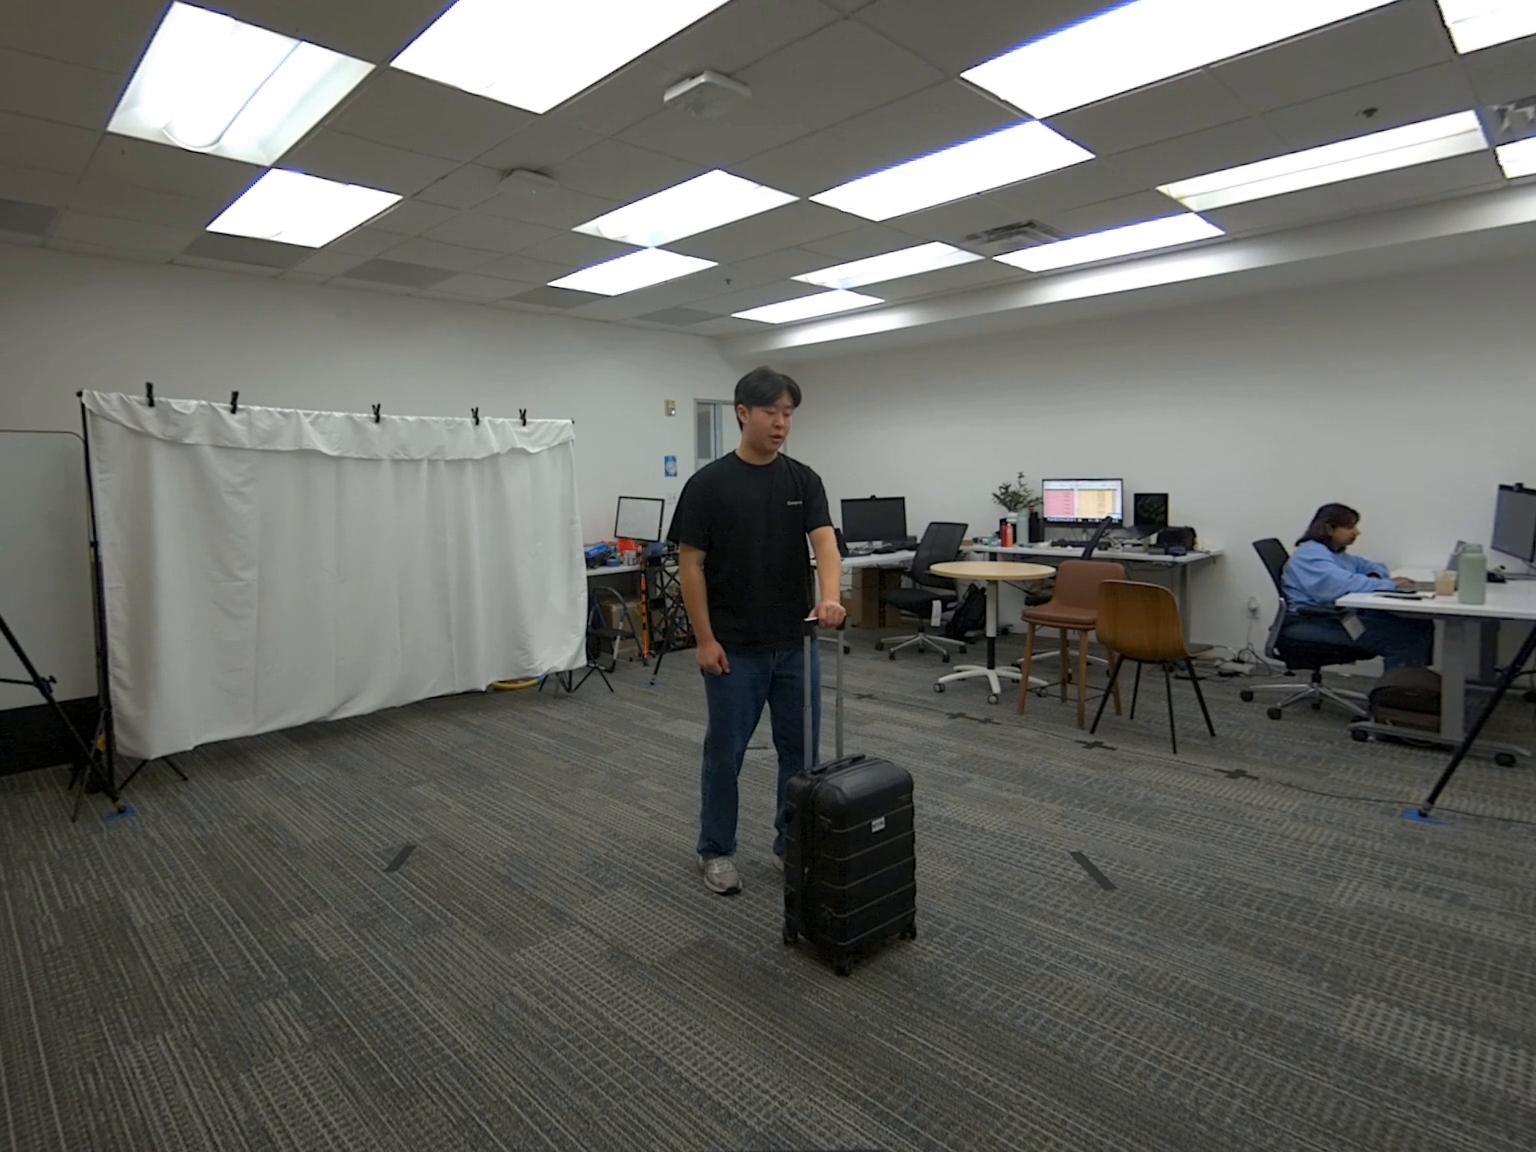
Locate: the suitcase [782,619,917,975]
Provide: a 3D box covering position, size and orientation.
[{"bbox_3d":[0.252,0.629,2.518,0.374,0.972,0.265,-6,10,-43],"label":"suitcase"}]
